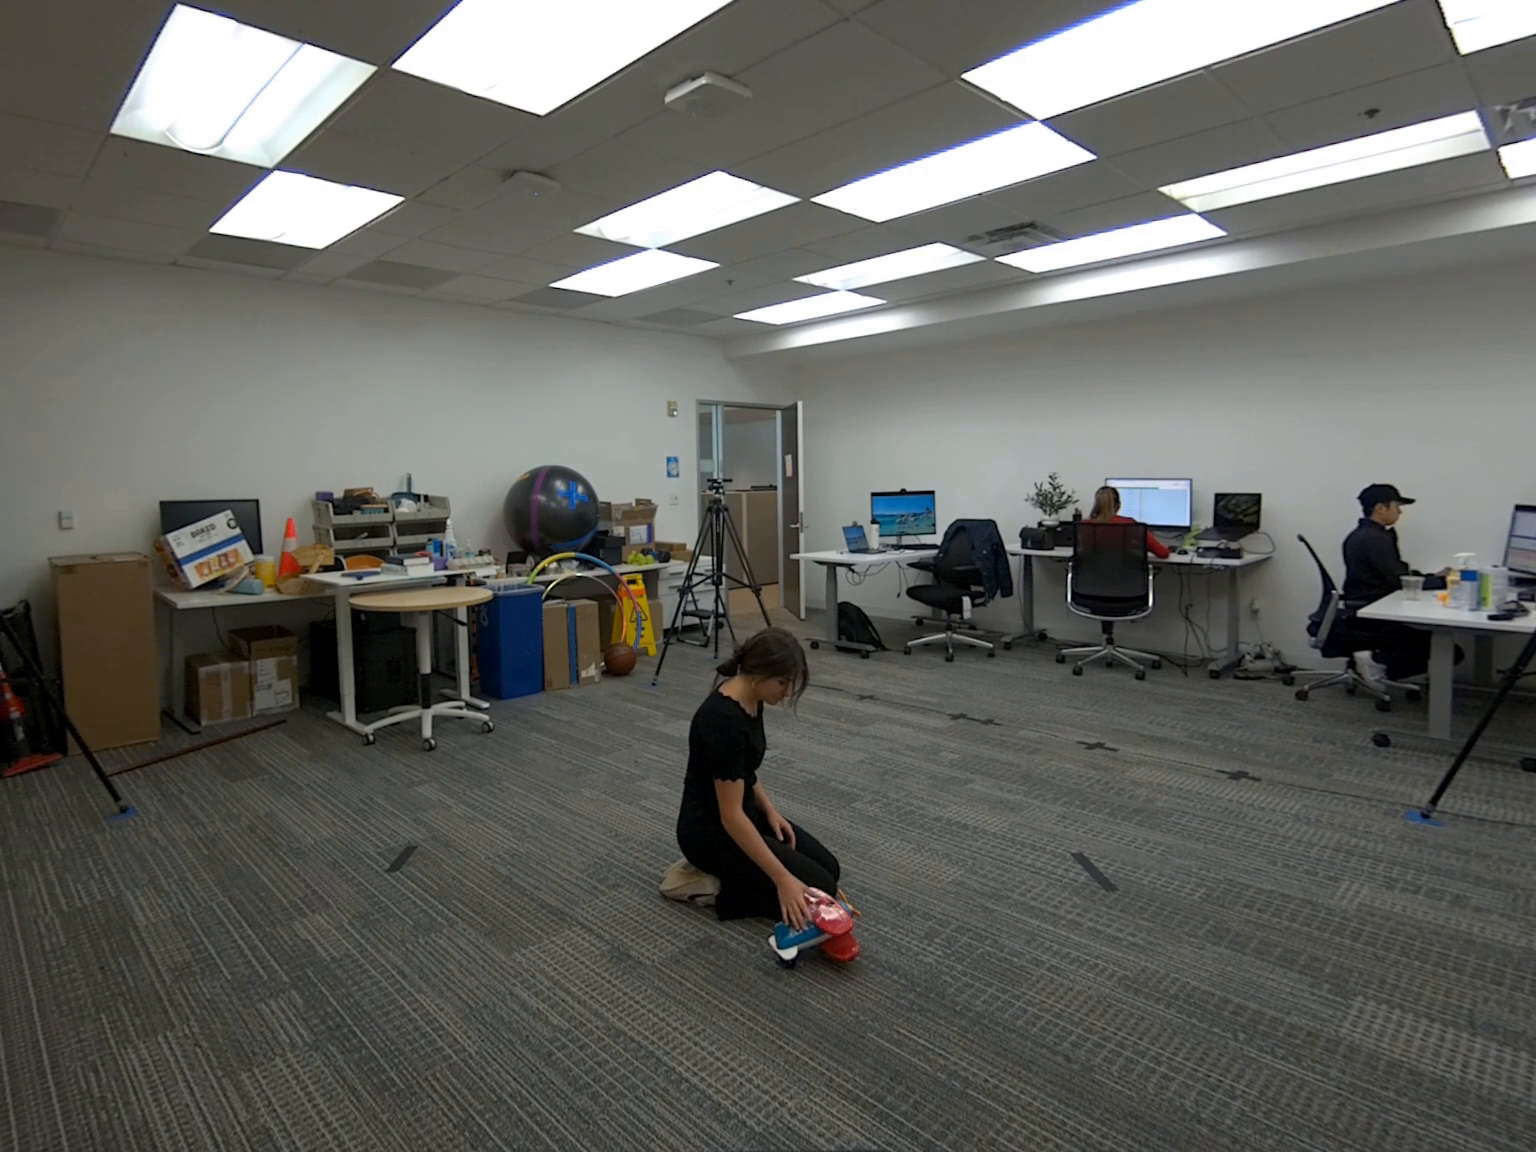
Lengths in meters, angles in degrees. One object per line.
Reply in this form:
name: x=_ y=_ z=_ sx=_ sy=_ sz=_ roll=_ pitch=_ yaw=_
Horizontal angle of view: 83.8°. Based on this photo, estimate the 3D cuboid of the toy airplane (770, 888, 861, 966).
toy airplane: x=0.156 y=1.046 z=2.465 sx=0.258 sy=0.156 sz=0.253 roll=4 pitch=7 yaw=37
